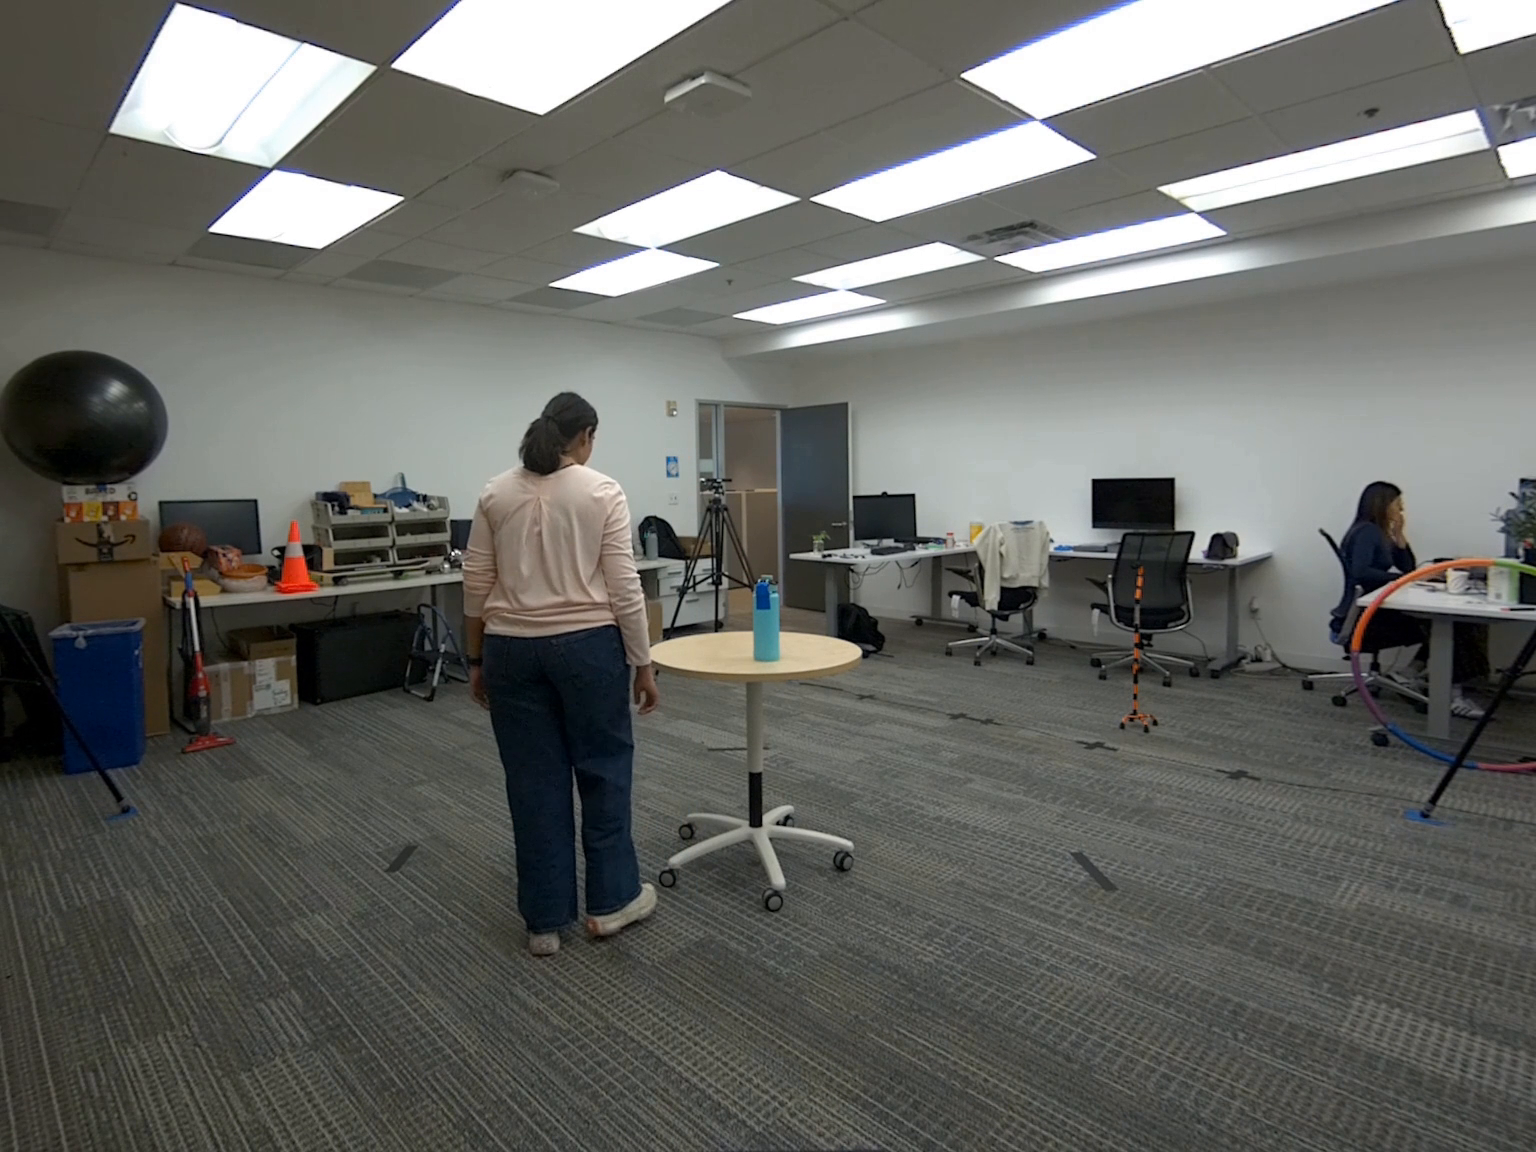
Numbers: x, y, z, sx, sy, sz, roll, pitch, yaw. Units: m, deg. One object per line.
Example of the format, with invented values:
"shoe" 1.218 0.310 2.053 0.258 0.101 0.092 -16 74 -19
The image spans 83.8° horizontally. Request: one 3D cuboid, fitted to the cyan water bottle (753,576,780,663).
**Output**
"cyan water bottle" 0.001 0.145 2.884 0.092 0.282 0.093 1 5 -2
